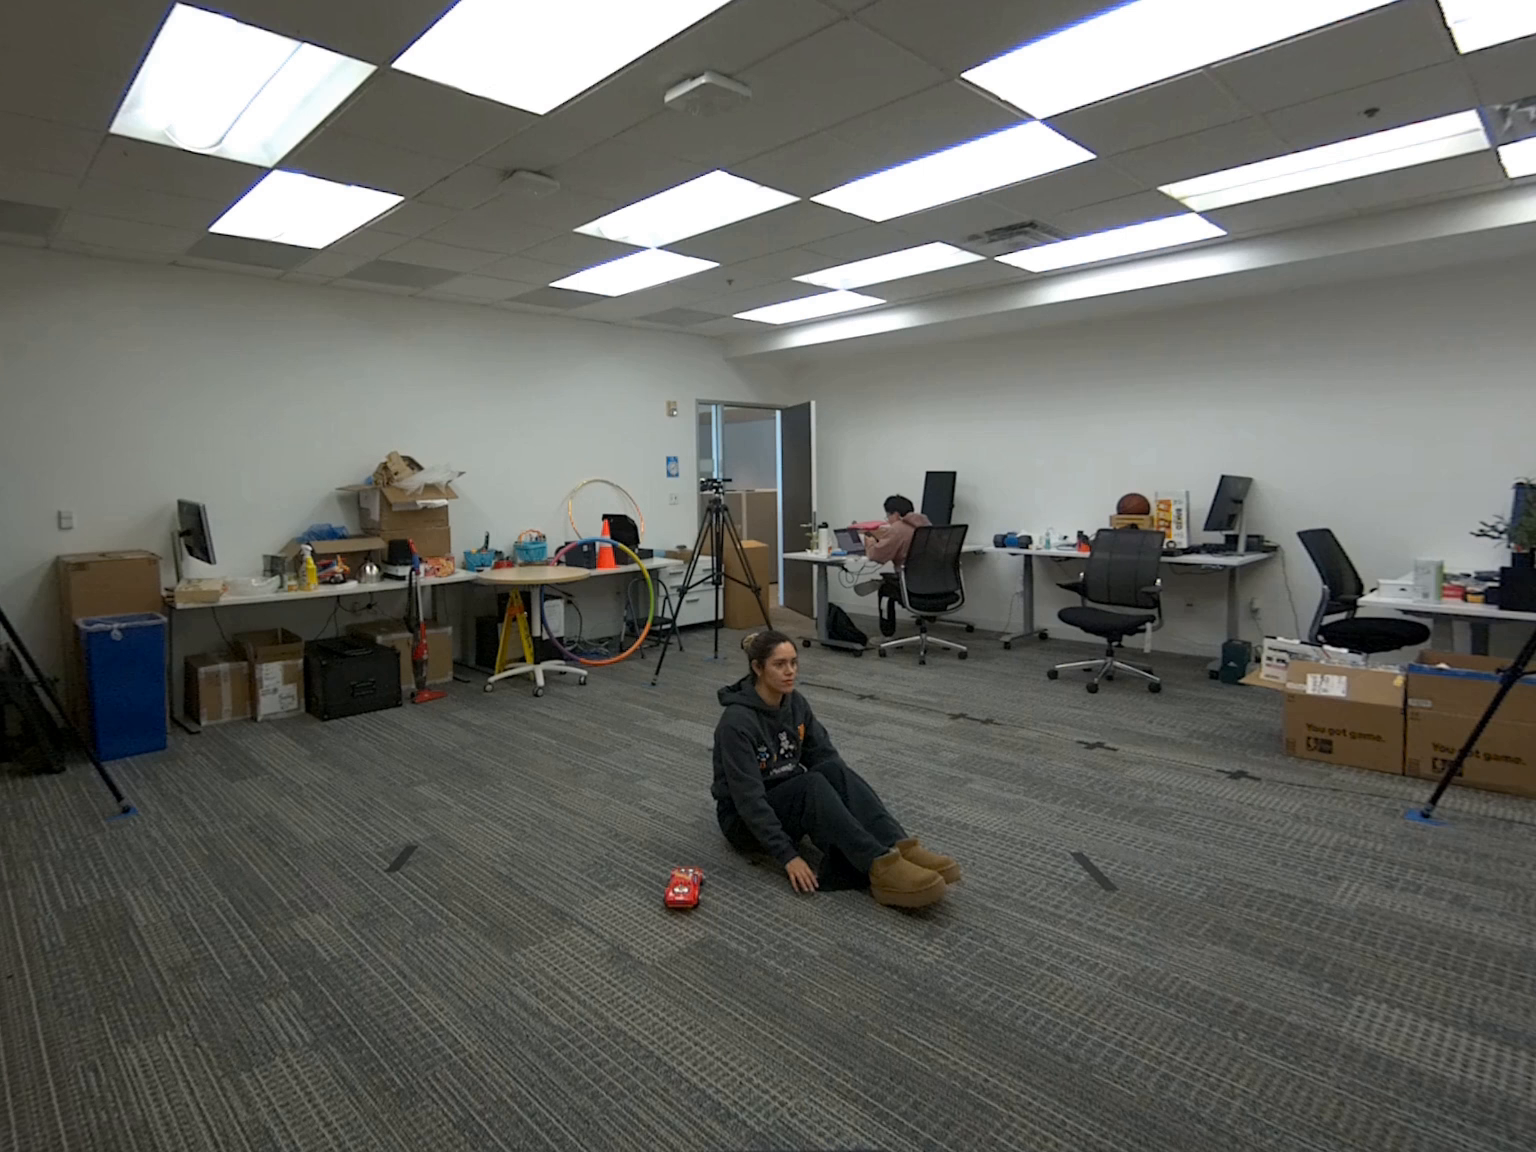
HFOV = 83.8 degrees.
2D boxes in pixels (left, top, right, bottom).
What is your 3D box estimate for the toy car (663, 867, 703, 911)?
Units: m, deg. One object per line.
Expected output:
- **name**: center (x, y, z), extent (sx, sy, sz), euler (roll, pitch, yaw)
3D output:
- **toy car**: center (-0.281, 1.047, 2.842), extent (0.131, 0.084, 0.252), euler (0, -6, 2)
